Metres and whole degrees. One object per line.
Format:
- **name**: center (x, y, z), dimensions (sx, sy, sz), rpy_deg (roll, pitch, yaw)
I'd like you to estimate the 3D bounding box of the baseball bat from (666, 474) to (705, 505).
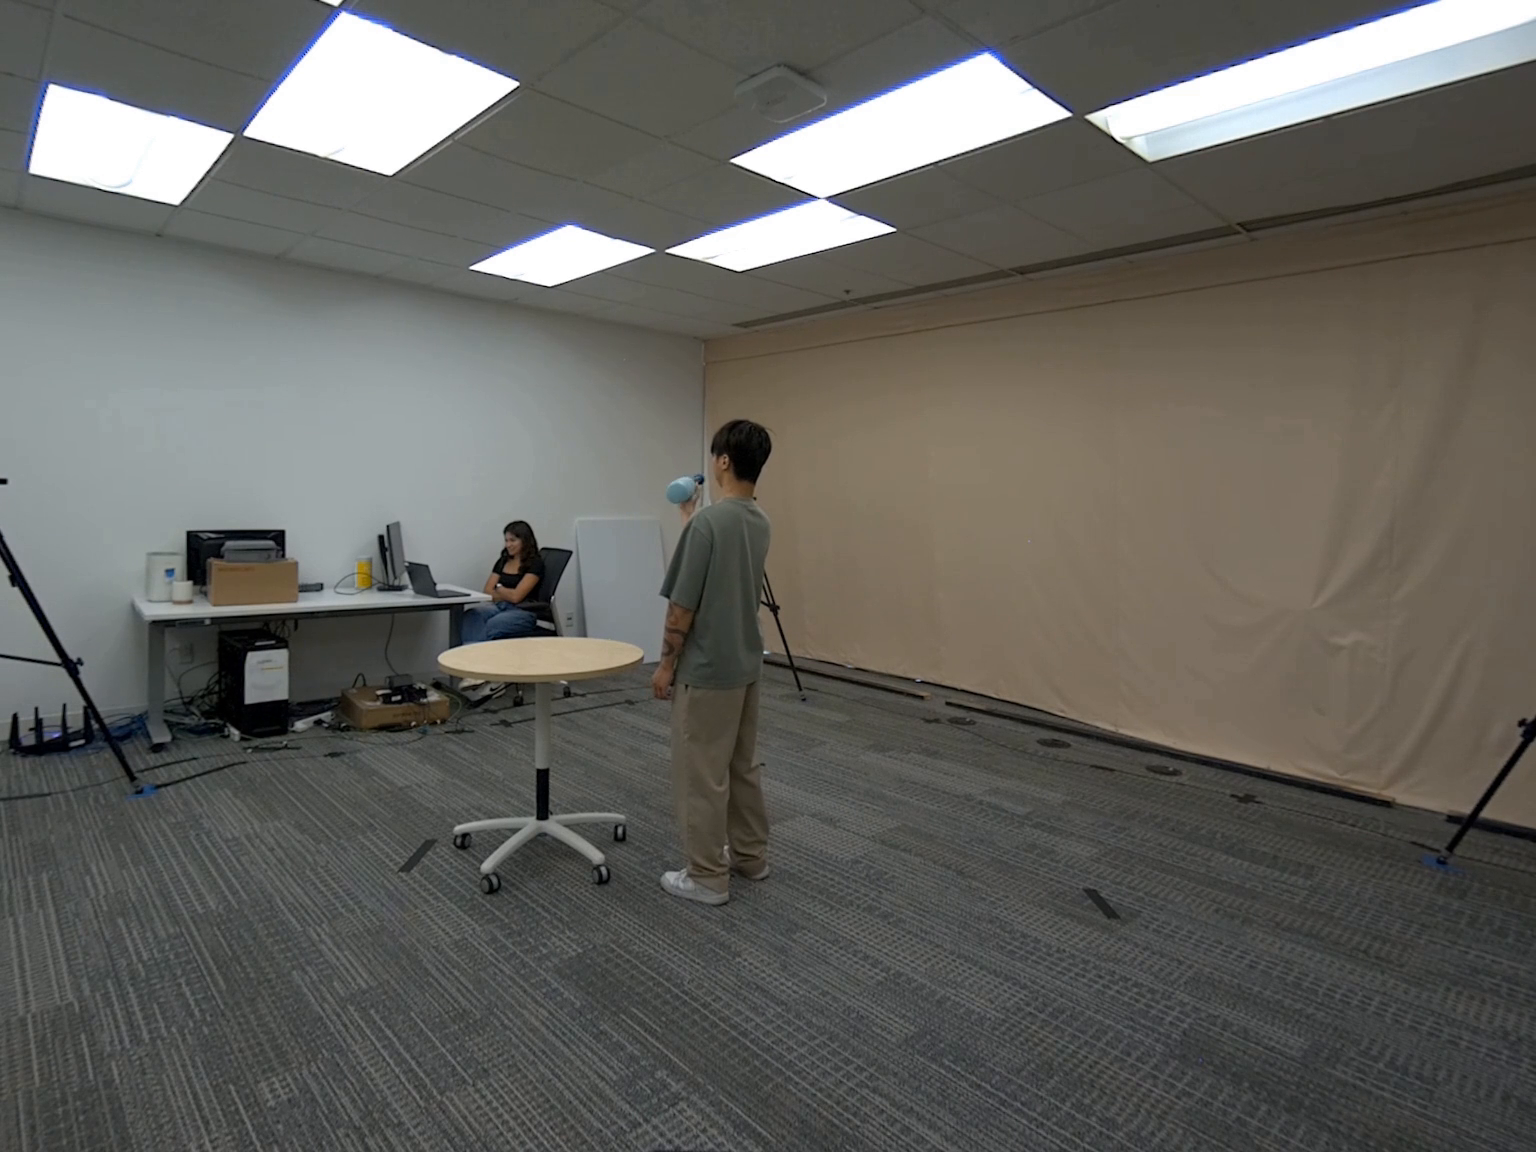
- **baseball bat**: center (-0.336, -0.367, 3.438), dimensions (0.089, 0.088, 0.544), rpy_deg (2, 12, 5)
